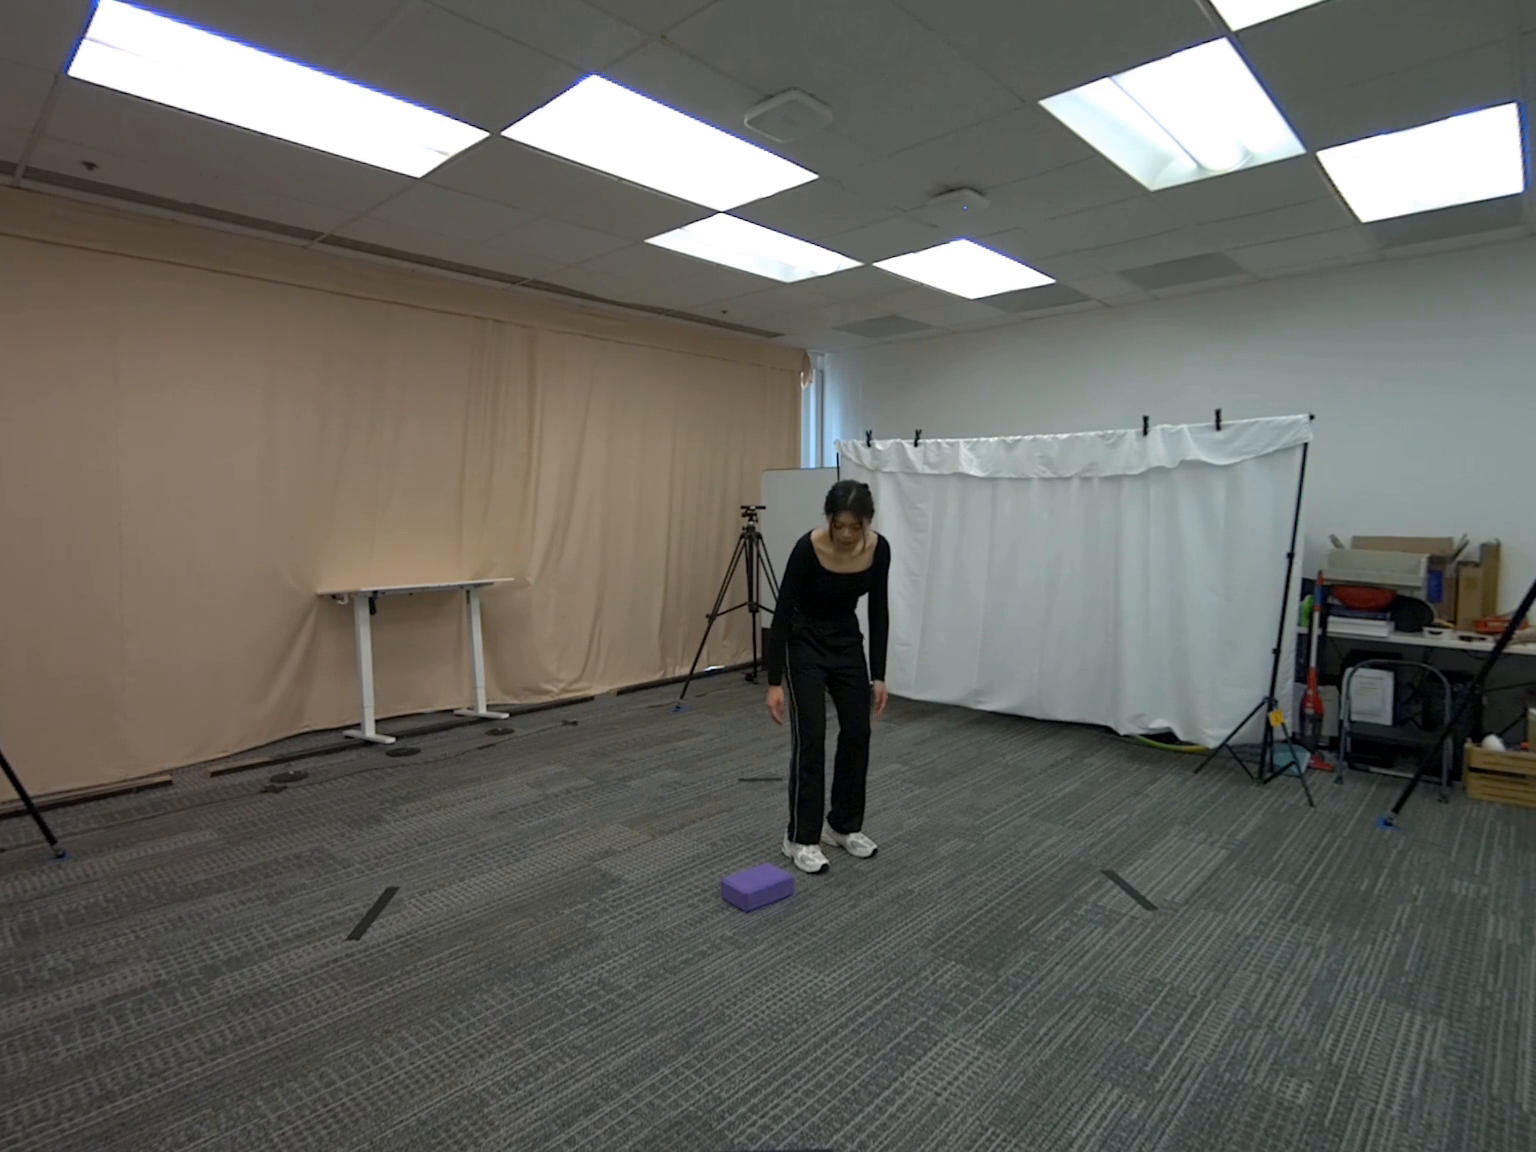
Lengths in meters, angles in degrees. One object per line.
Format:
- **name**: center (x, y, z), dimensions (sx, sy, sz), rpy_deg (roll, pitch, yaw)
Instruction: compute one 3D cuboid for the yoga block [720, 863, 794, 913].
- **yoga block**: center (-0.033, 1.101, 2.993), dimensions (0.222, 0.076, 0.154), rpy_deg (-4, 7, -39)
